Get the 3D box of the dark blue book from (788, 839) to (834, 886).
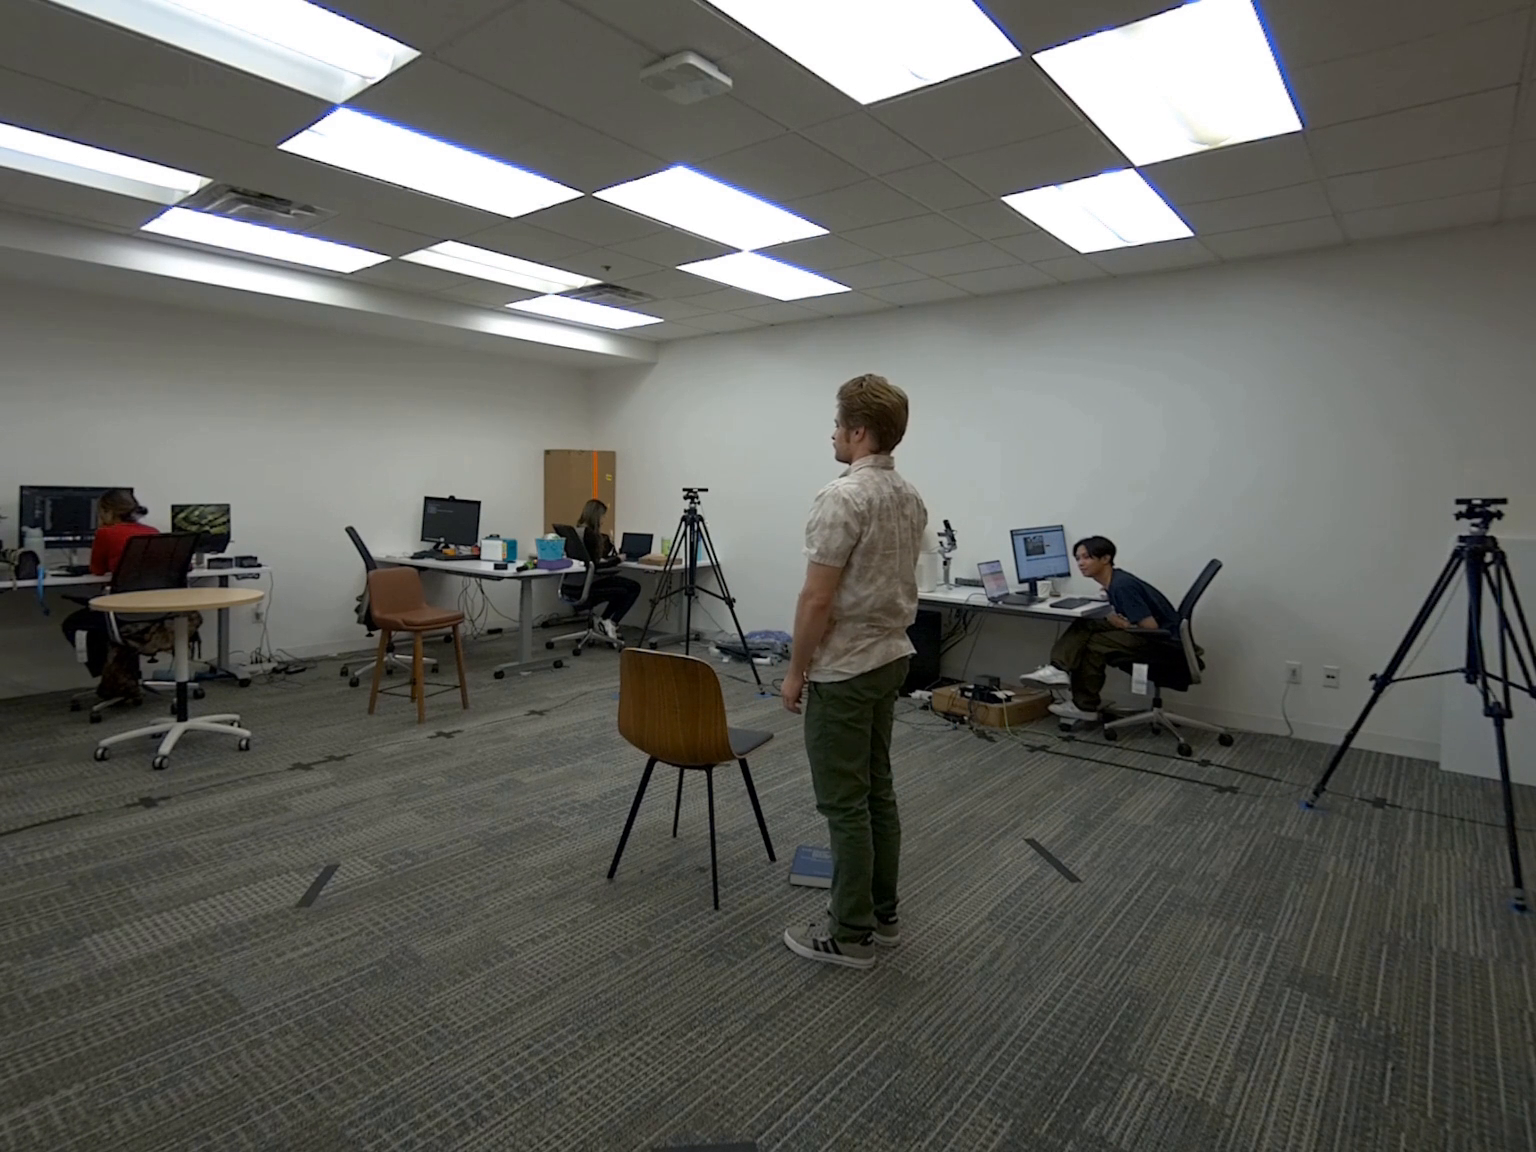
[{"bbox_3d":[0.170,1.051,3.097,0.165,0.045,0.243,3,5,10],"label":"dark blue book"}]
